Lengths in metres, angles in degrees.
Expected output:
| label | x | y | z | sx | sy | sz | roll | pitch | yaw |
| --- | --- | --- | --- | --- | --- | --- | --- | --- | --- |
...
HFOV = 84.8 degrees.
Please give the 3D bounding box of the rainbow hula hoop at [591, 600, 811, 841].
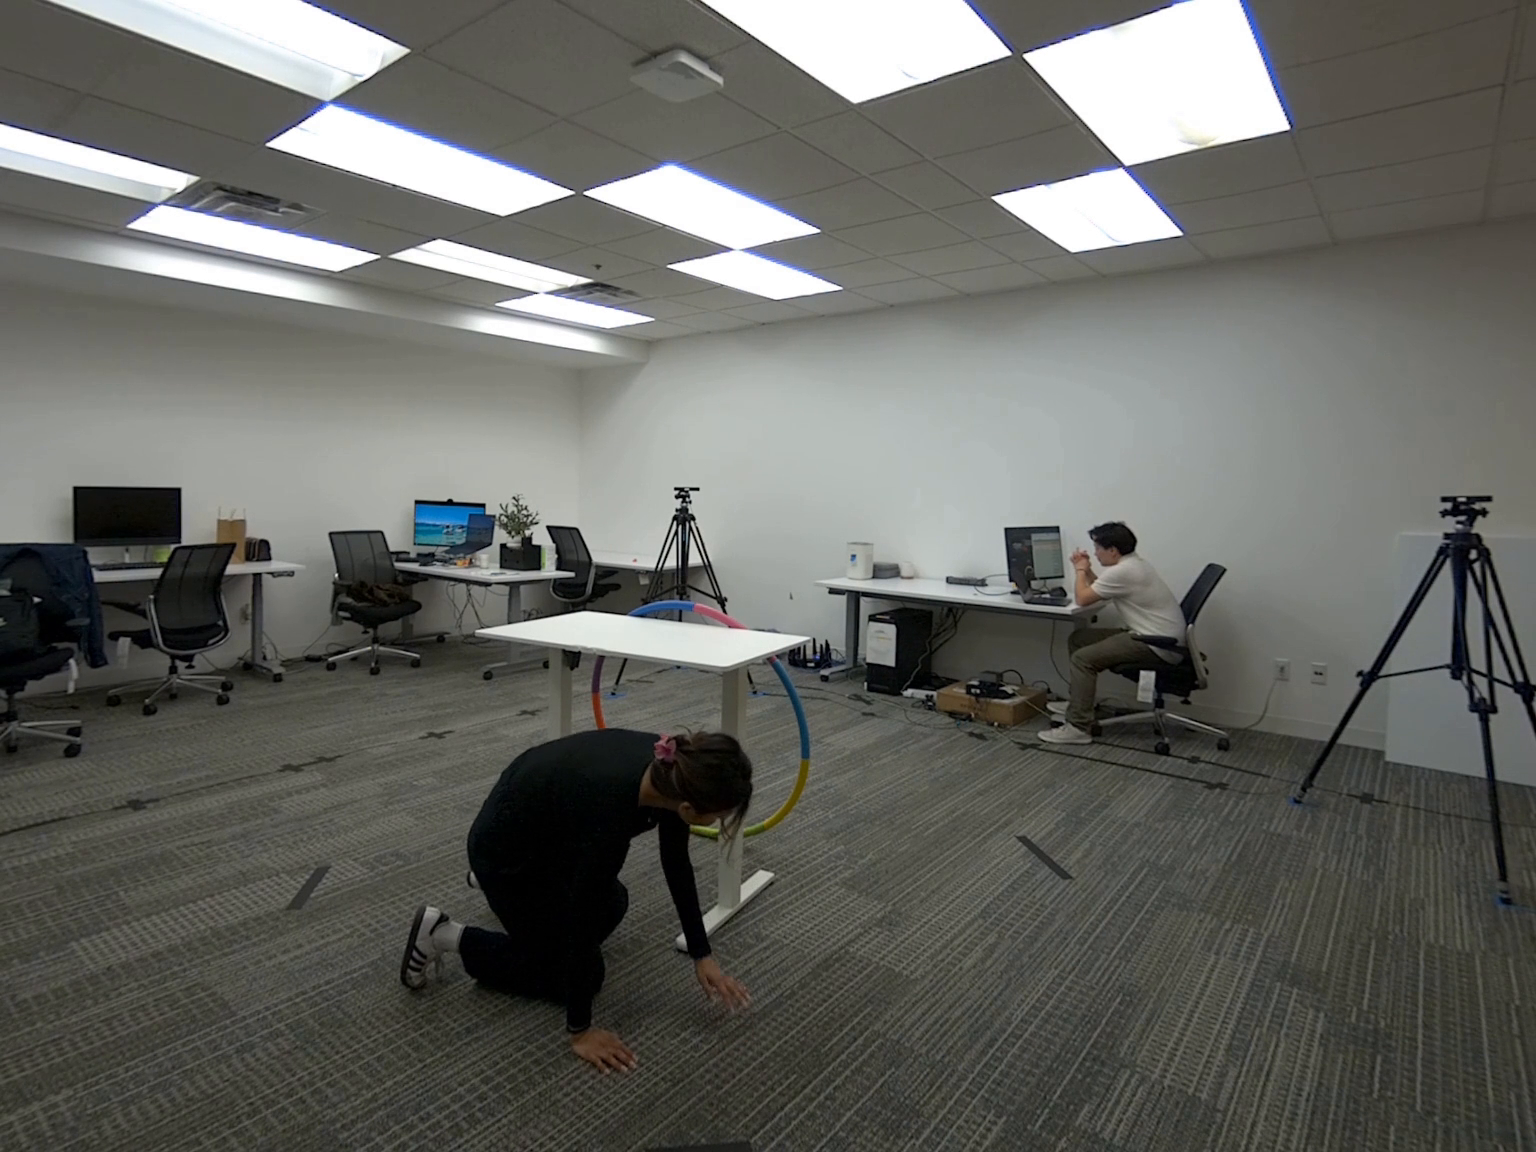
| label | x | y | z | sx | sy | sz | roll | pitch | yaw |
| --- | --- | --- | --- | --- | --- | --- | --- | --- | --- |
| rainbow hula hoop | -0.298 | 0.562 | 3.305 | 1.007 | 0.966 | 0.035 | 3 | 15 | 30 |
